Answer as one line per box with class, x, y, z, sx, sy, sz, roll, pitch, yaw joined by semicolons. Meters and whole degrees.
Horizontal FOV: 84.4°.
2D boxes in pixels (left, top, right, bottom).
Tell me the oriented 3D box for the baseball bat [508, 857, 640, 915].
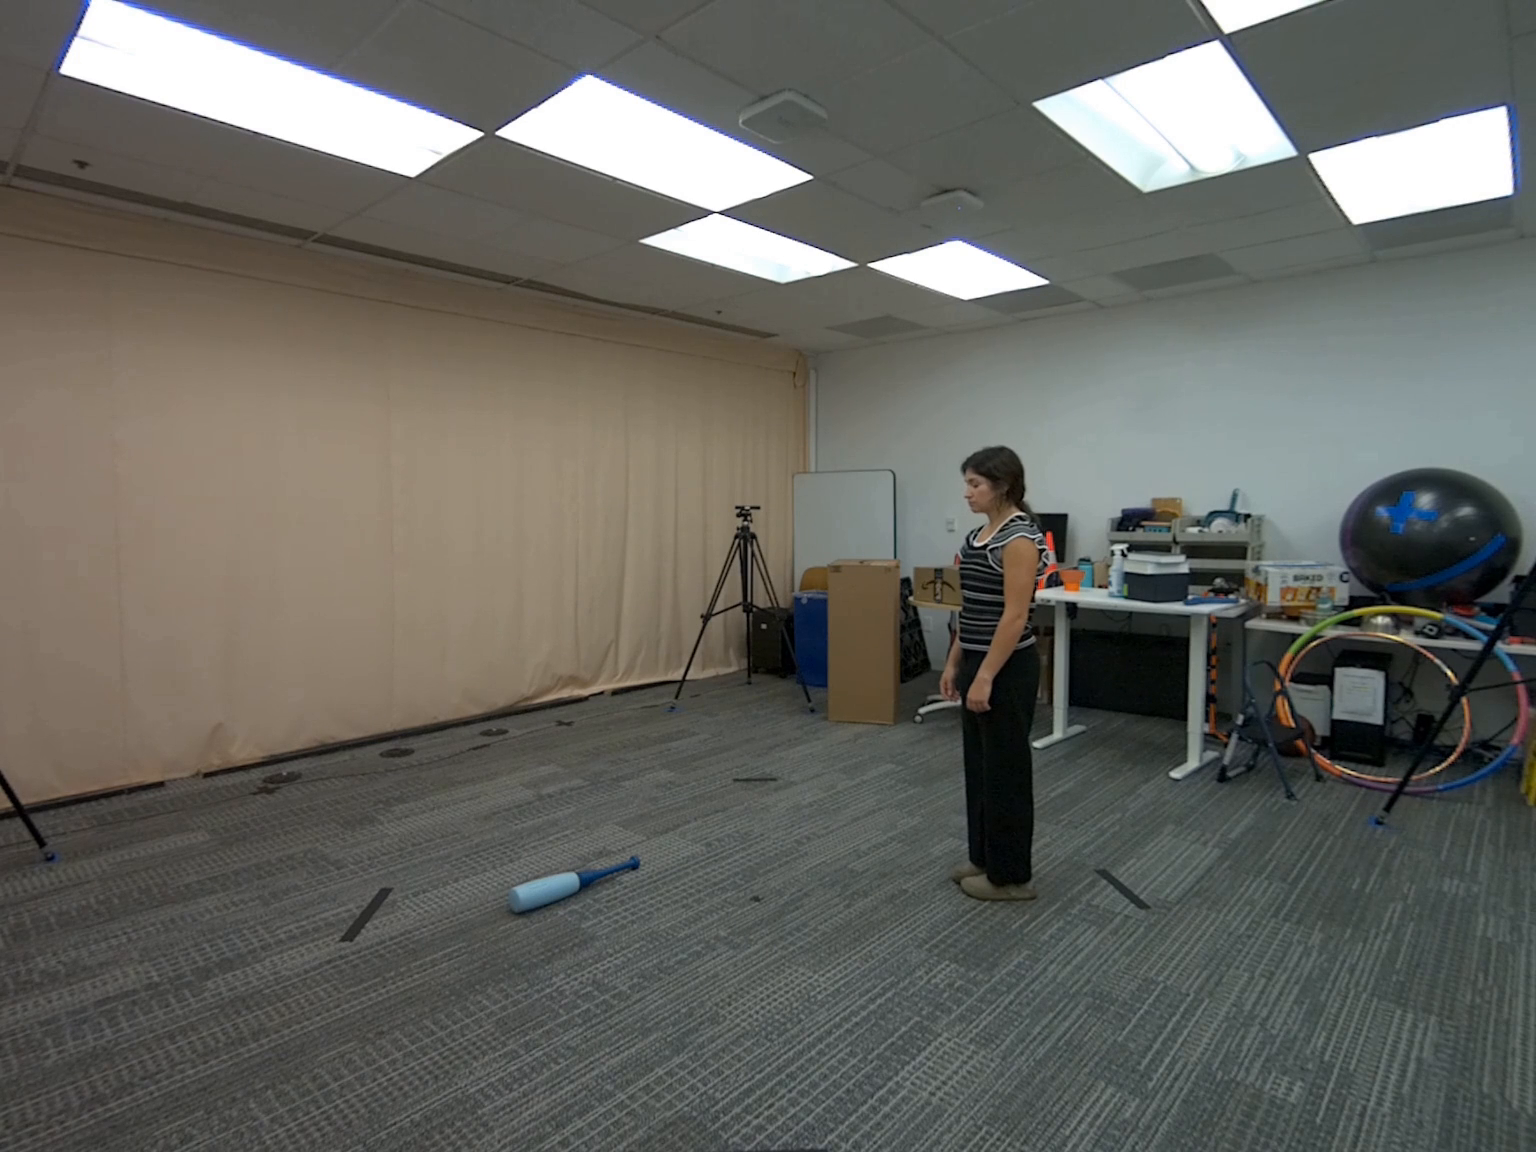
baseball bat;-0.689;1.113;3.063;0.092;0.089;0.525;4;2;44
